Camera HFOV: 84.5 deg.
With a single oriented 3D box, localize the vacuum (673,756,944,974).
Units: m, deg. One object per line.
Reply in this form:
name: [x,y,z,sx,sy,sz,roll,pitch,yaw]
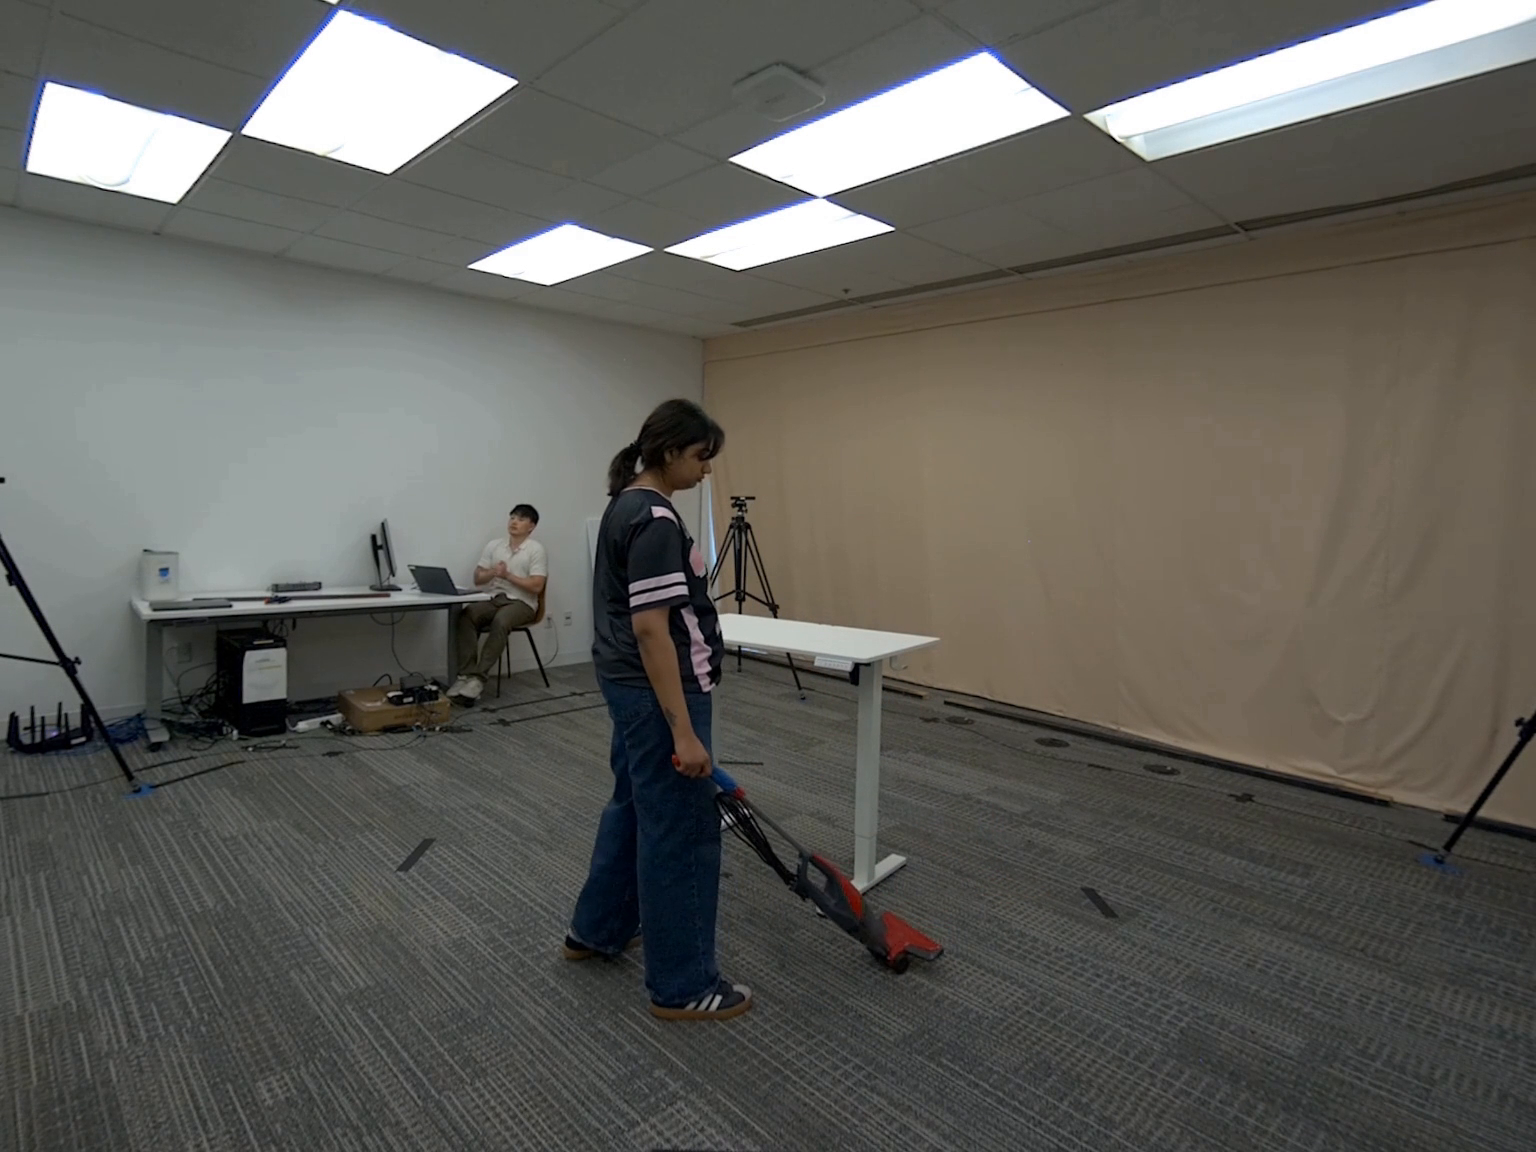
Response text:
vacuum: [0.083,0.808,2.341,1.023,0.144,0.258,46,-24,-26]
